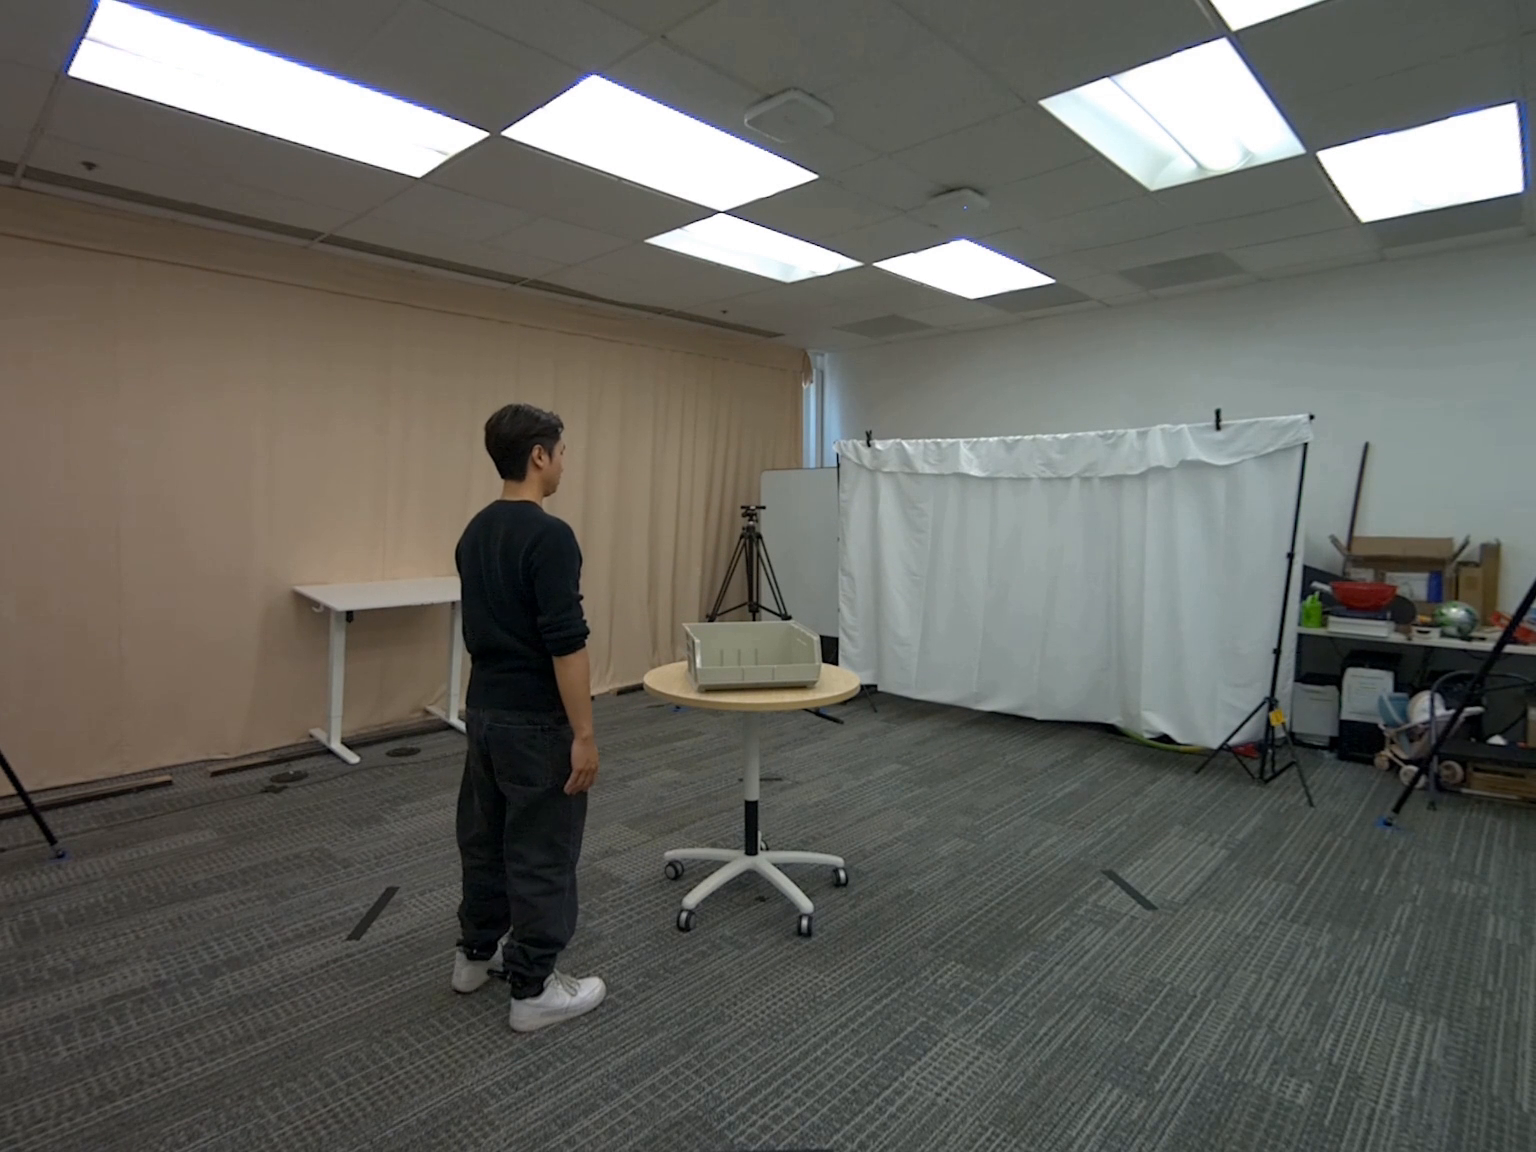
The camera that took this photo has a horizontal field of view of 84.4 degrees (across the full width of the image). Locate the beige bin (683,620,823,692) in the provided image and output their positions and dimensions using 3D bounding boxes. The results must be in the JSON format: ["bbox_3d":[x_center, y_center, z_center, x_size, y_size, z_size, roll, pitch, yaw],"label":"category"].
[{"bbox_3d":[-0.064,0.277,2.917,0.418,0.188,0.382,-1,4,-11],"label":"beige bin"}]
